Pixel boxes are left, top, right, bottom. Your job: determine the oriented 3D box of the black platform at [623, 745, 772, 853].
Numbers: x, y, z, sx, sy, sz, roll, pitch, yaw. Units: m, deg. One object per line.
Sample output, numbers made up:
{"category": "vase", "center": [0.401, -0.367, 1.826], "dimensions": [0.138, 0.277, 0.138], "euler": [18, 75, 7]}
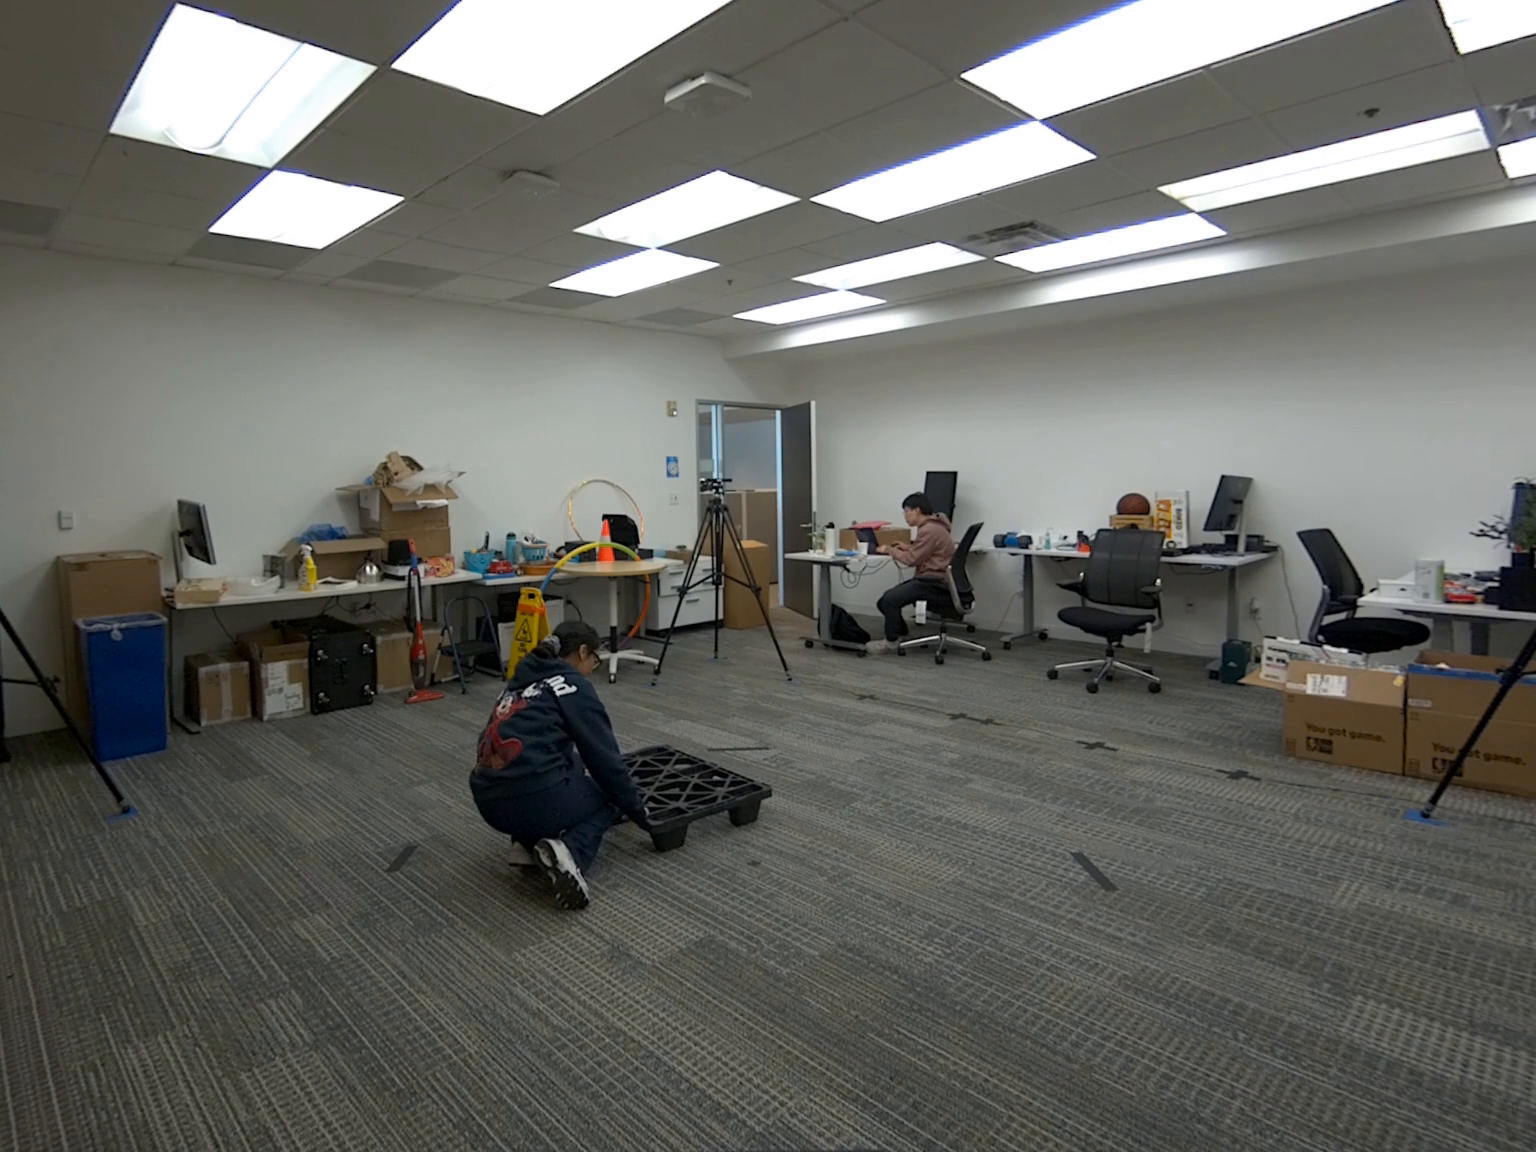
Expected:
{"category": "black platform", "center": [-0.455, 0.925, 3.625], "dimensions": [0.589, 0.143, 0.830], "euler": [-6, 8, -40]}
